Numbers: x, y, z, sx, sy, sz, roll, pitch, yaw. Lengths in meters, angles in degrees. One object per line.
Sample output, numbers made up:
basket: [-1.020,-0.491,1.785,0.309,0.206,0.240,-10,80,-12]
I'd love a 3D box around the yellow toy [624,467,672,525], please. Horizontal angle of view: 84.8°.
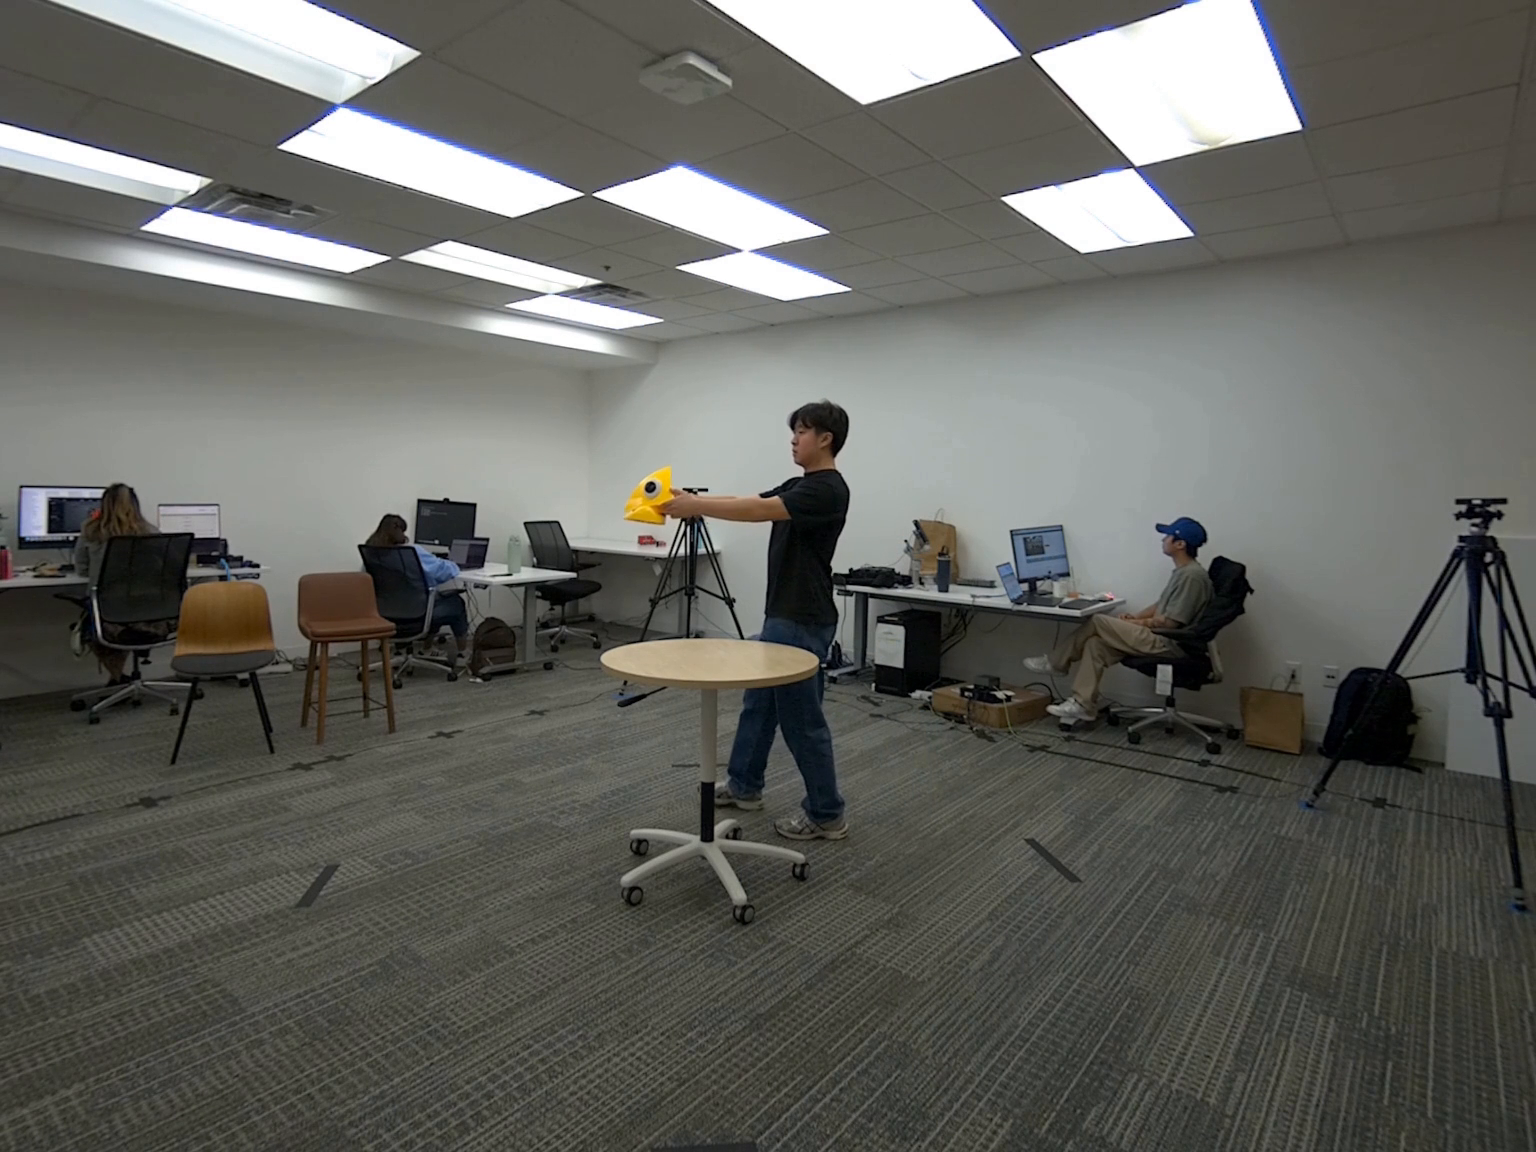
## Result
yellow toy: [-0.470,-0.330,3.329,0.190,0.231,0.207,8,-1,-13]
